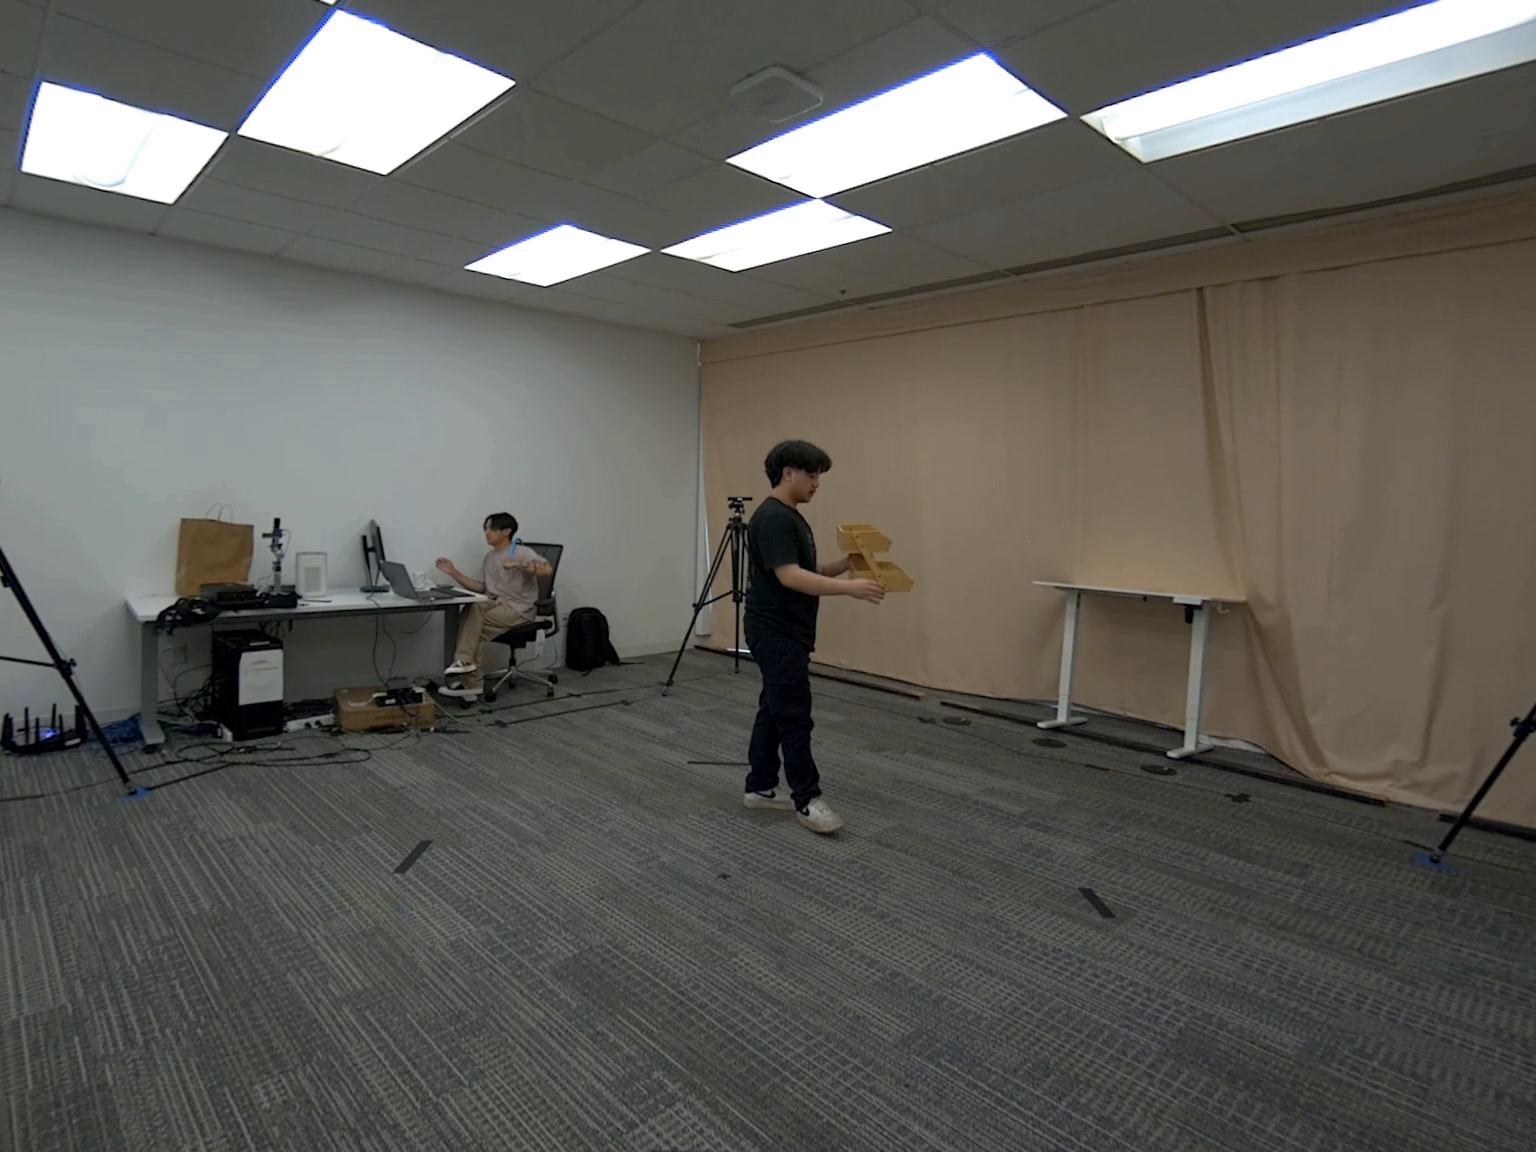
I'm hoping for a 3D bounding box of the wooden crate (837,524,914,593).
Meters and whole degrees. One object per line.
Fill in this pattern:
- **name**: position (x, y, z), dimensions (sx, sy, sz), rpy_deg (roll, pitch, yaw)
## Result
- **wooden crate**: position (0.459, -0.091, 3.691), dimensions (0.302, 0.272, 0.326), rpy_deg (-2, 8, 1)
